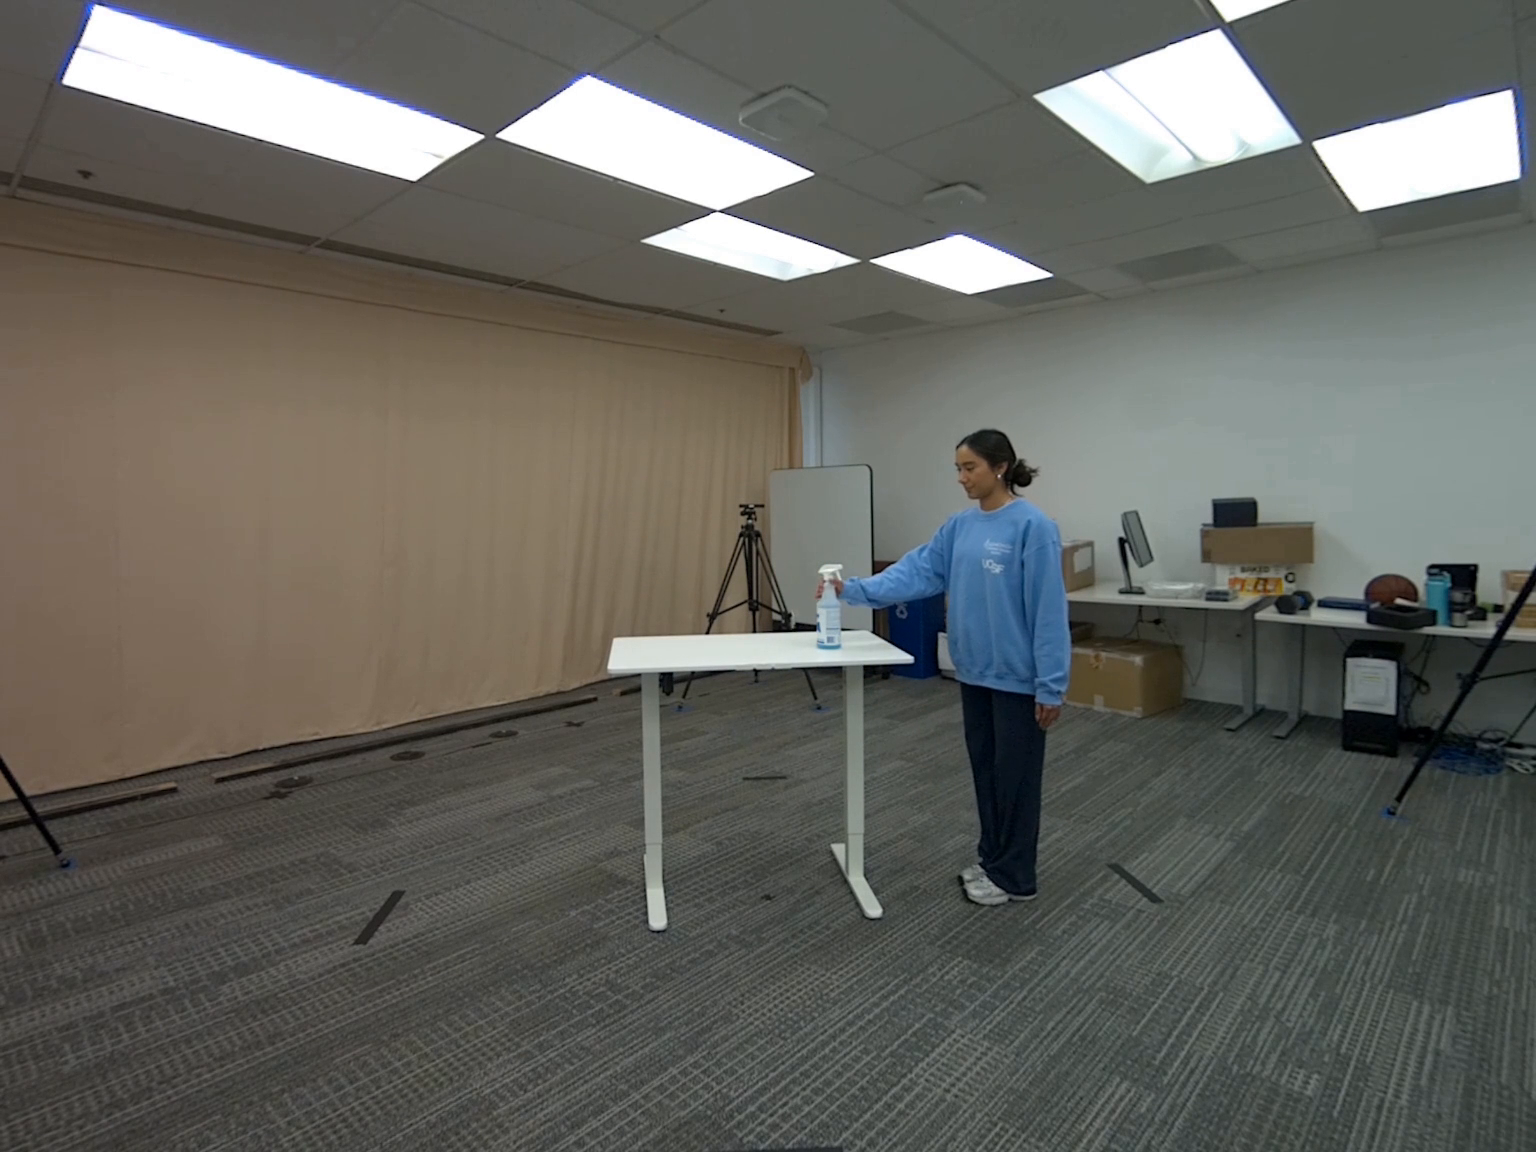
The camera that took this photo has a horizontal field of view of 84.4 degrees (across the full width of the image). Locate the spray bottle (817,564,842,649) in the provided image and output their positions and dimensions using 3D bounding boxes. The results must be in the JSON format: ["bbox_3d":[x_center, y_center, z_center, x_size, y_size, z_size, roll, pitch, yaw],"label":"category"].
[{"bbox_3d":[0.225,0.110,2.982,0.085,0.296,0.093,-2,5,-30],"label":"spray bottle"}]
